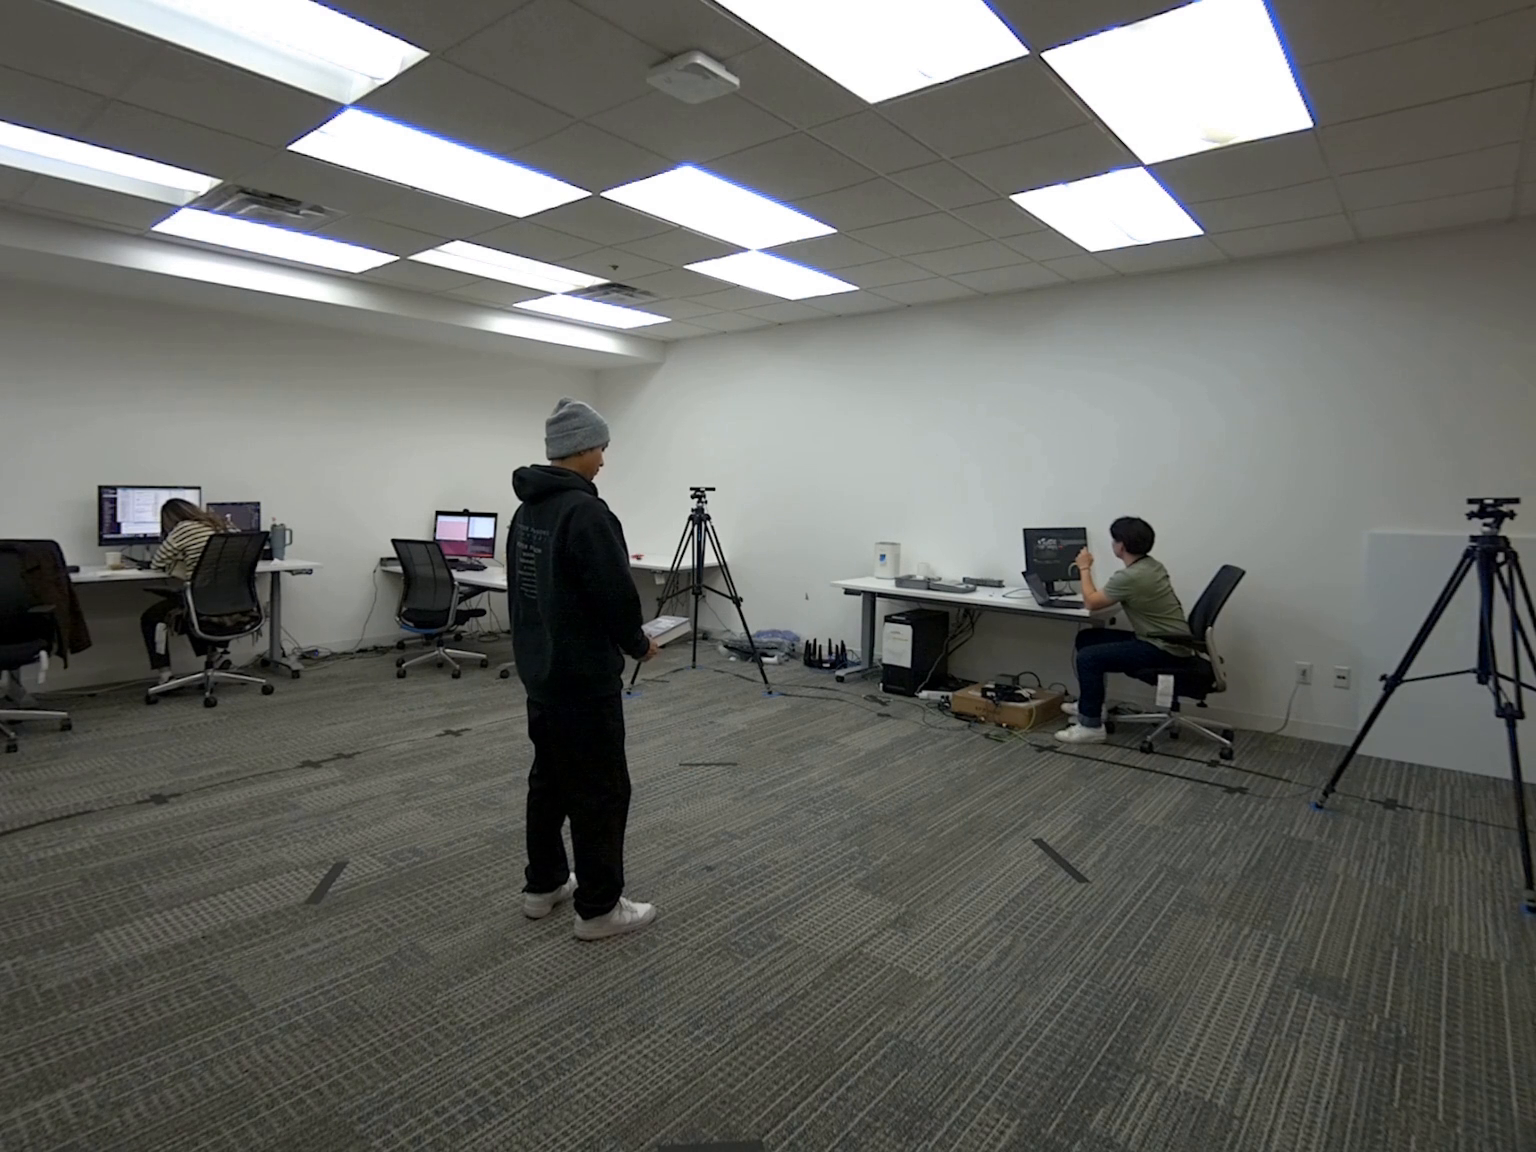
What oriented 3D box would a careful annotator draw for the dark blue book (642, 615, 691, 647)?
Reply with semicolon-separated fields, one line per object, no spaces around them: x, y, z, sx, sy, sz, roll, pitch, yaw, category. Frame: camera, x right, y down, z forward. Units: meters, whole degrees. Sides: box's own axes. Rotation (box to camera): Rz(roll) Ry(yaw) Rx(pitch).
-0.414;0.212;2.932;0.169;0.044;0.241;4;22;46;dark blue book
